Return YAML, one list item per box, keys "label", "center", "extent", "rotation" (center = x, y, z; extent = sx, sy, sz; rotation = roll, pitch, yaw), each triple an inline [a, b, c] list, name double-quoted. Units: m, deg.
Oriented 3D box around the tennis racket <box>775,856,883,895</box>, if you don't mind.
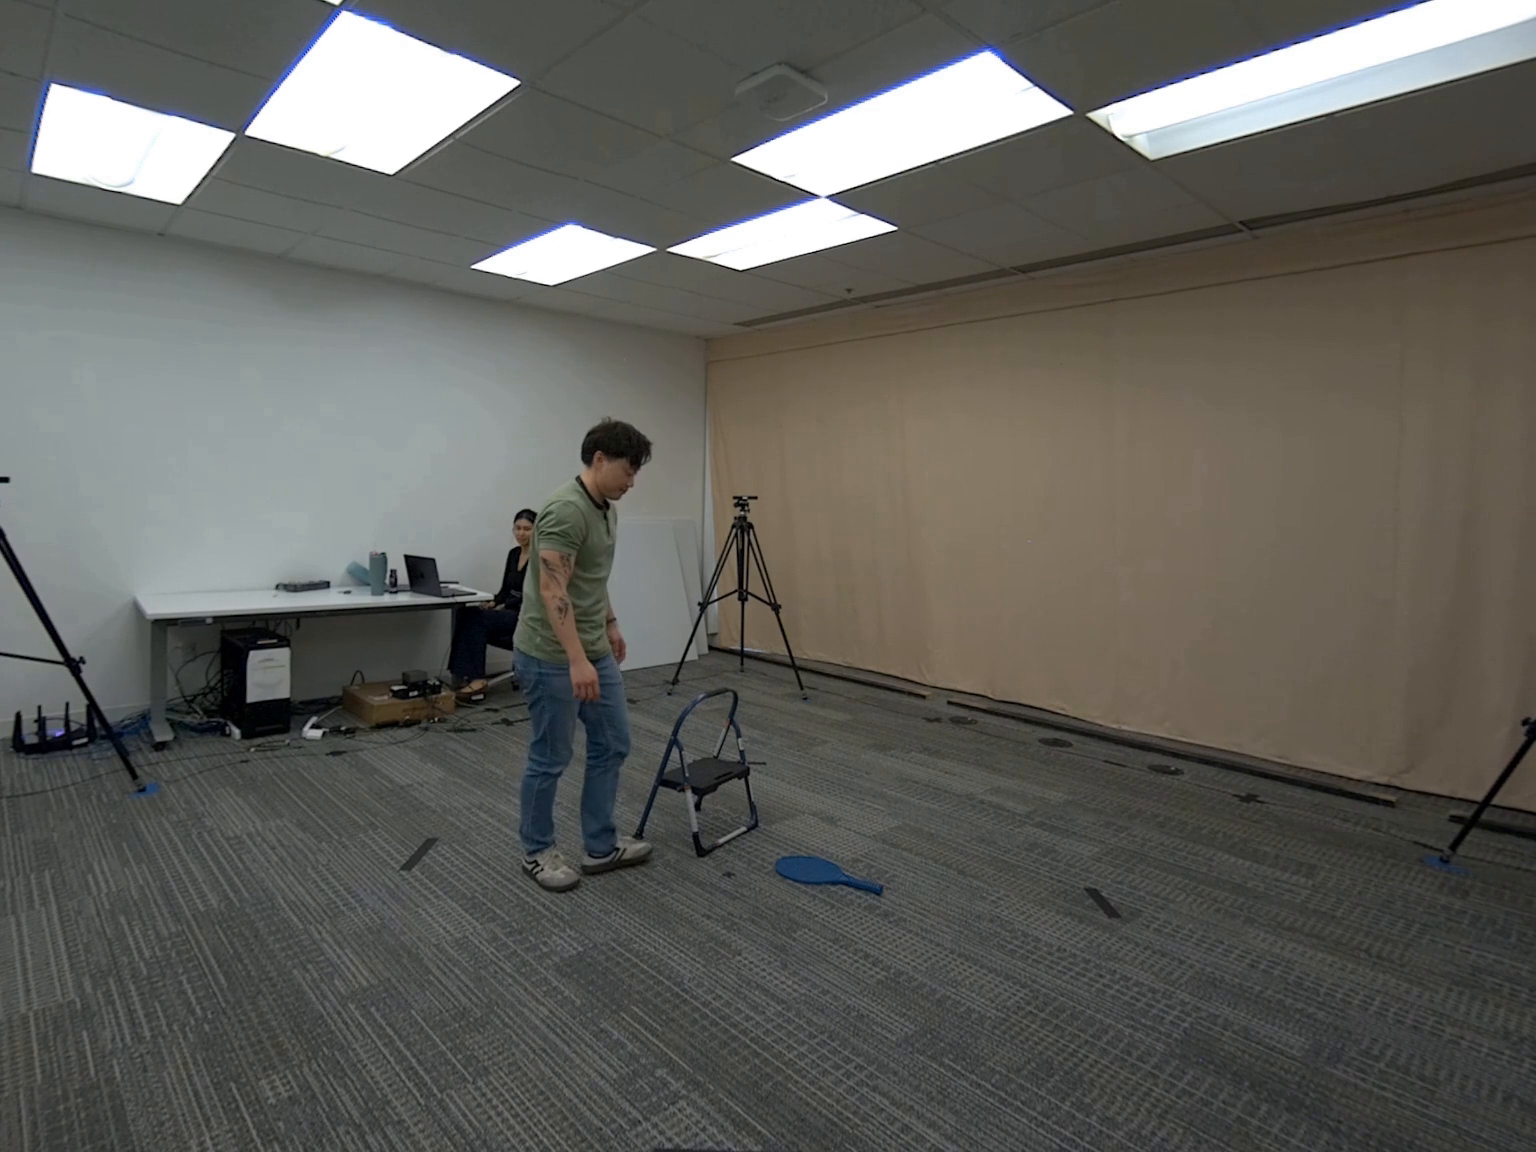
- label: "tennis racket"
  center: [0.213, 1.100, 3.099]
  extent: [0.443, 0.031, 0.209]
  rotation: [4, 6, 34]
